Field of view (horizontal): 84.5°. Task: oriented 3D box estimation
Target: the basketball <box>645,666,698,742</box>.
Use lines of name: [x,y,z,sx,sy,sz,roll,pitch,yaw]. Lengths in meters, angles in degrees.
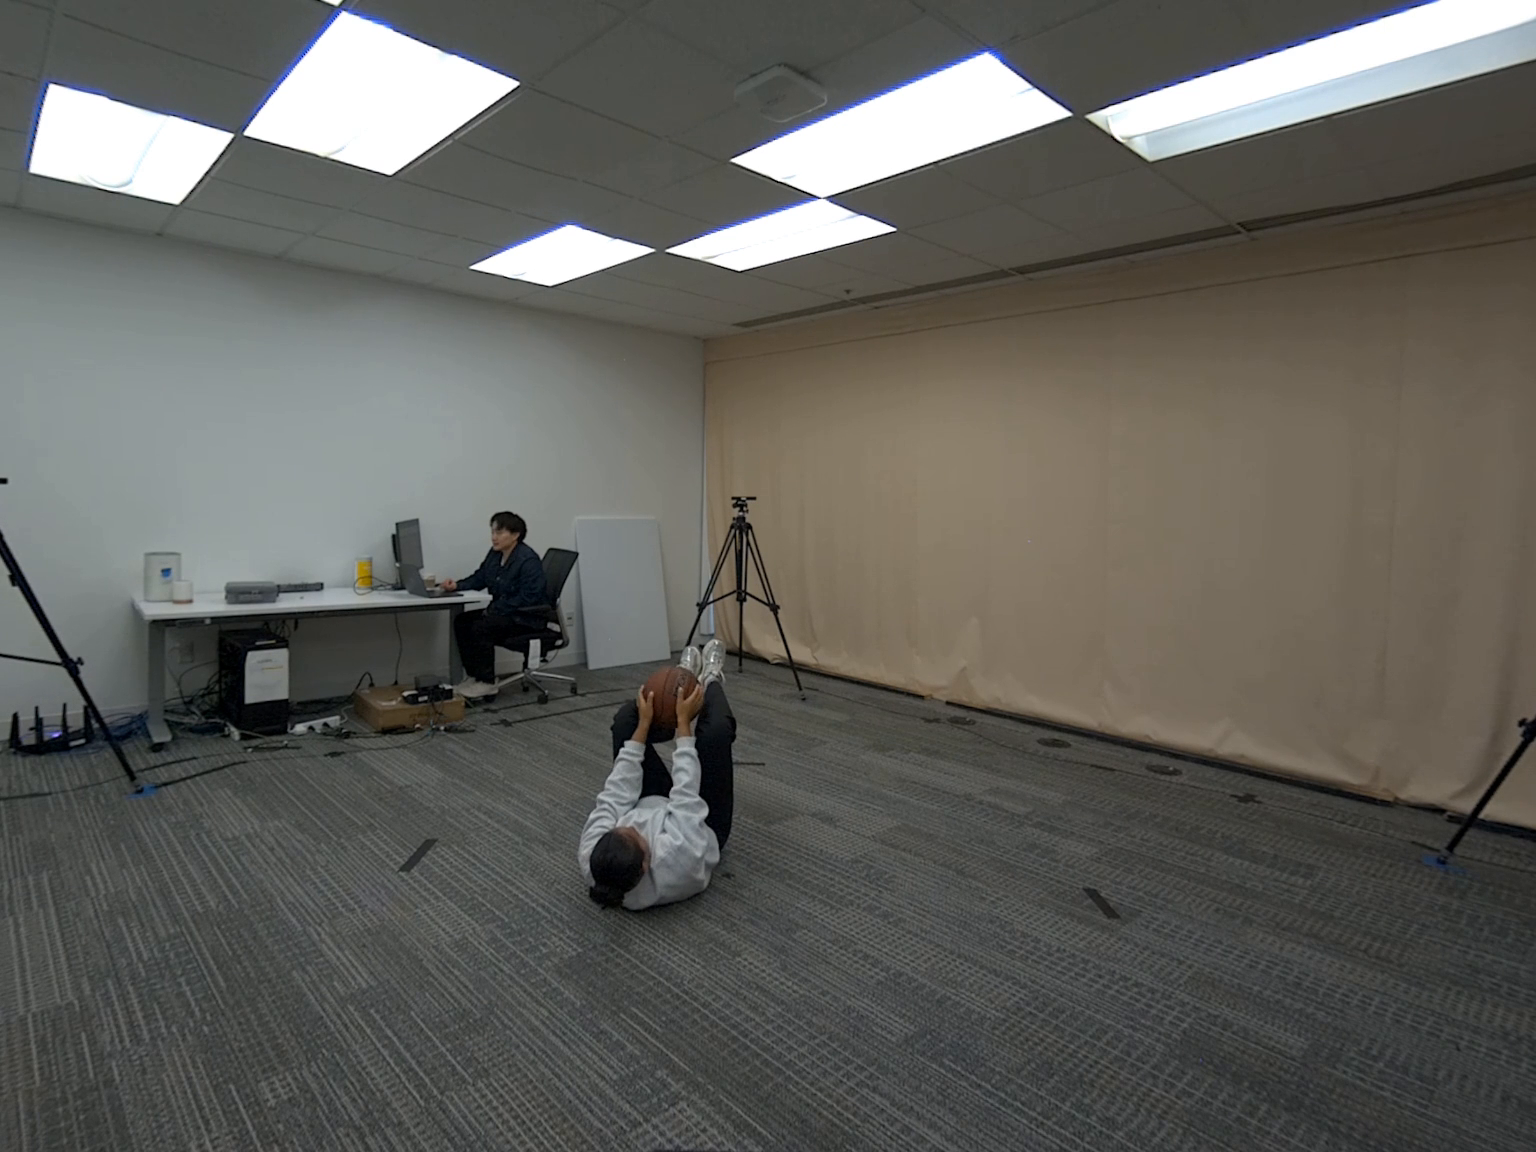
basketball: [-0.382,0.469,3.256,0.236,0.235,0.237,1,5,-1]
